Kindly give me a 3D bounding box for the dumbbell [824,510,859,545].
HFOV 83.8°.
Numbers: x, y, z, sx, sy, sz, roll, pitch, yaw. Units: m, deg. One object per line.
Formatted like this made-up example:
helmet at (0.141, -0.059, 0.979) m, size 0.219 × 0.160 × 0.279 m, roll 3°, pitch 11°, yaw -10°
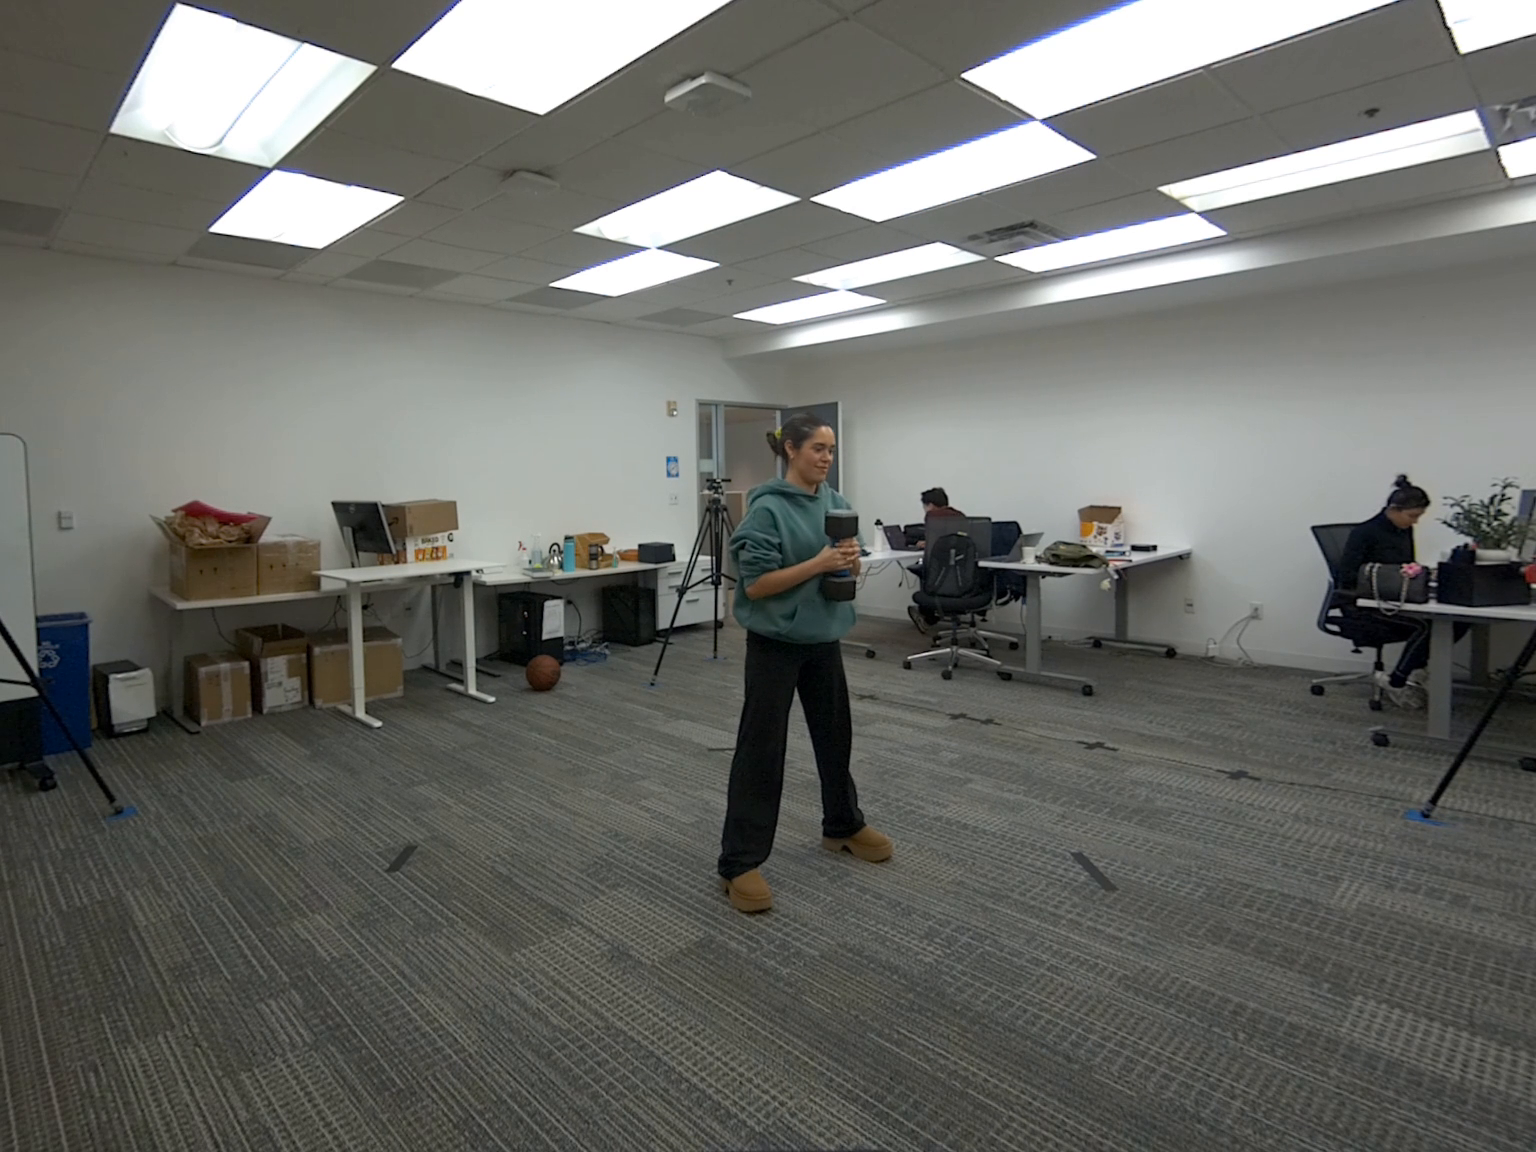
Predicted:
dumbbell at (0.221, -0.056, 2.808) m, size 0.109 × 0.291 × 0.123 m, roll 2°, pitch 9°, yaw 5°
